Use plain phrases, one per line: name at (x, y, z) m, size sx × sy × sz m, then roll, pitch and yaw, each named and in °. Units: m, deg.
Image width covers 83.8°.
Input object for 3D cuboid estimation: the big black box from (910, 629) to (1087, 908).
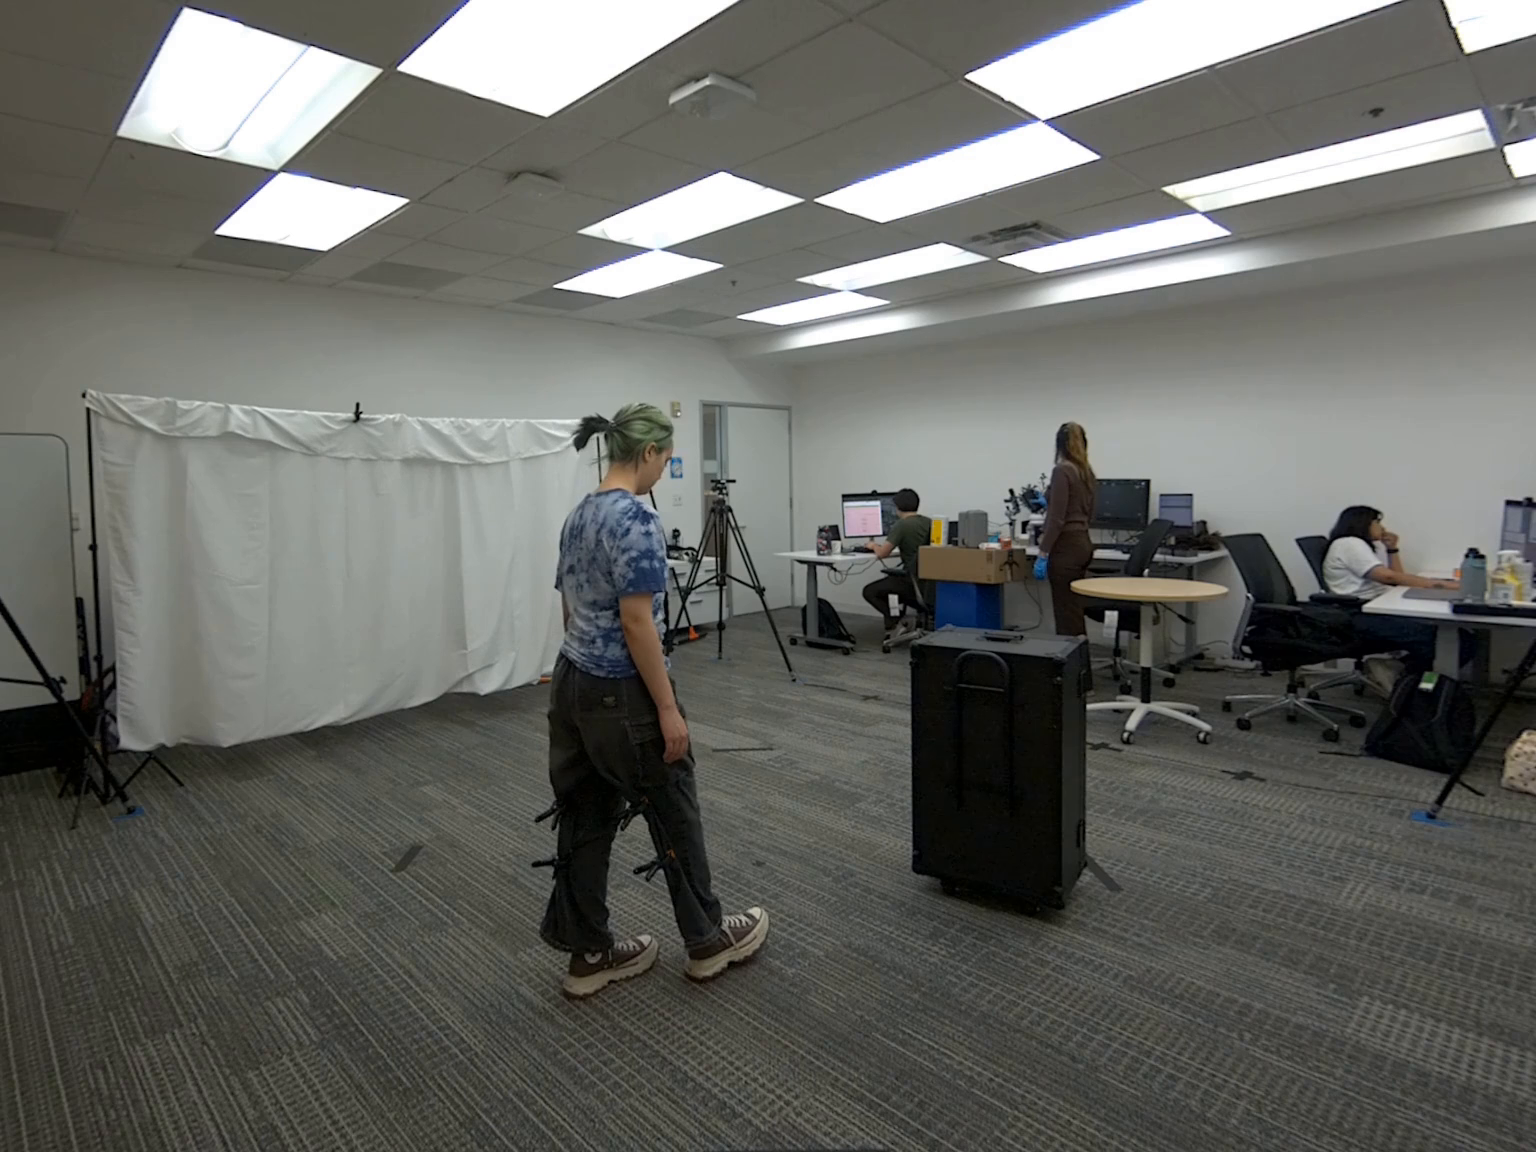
big black box at (0.774, 0.637, 2.840) m, size 0.536 × 0.858 × 0.387 m, roll 2°, pitch 6°, yaw 33°
